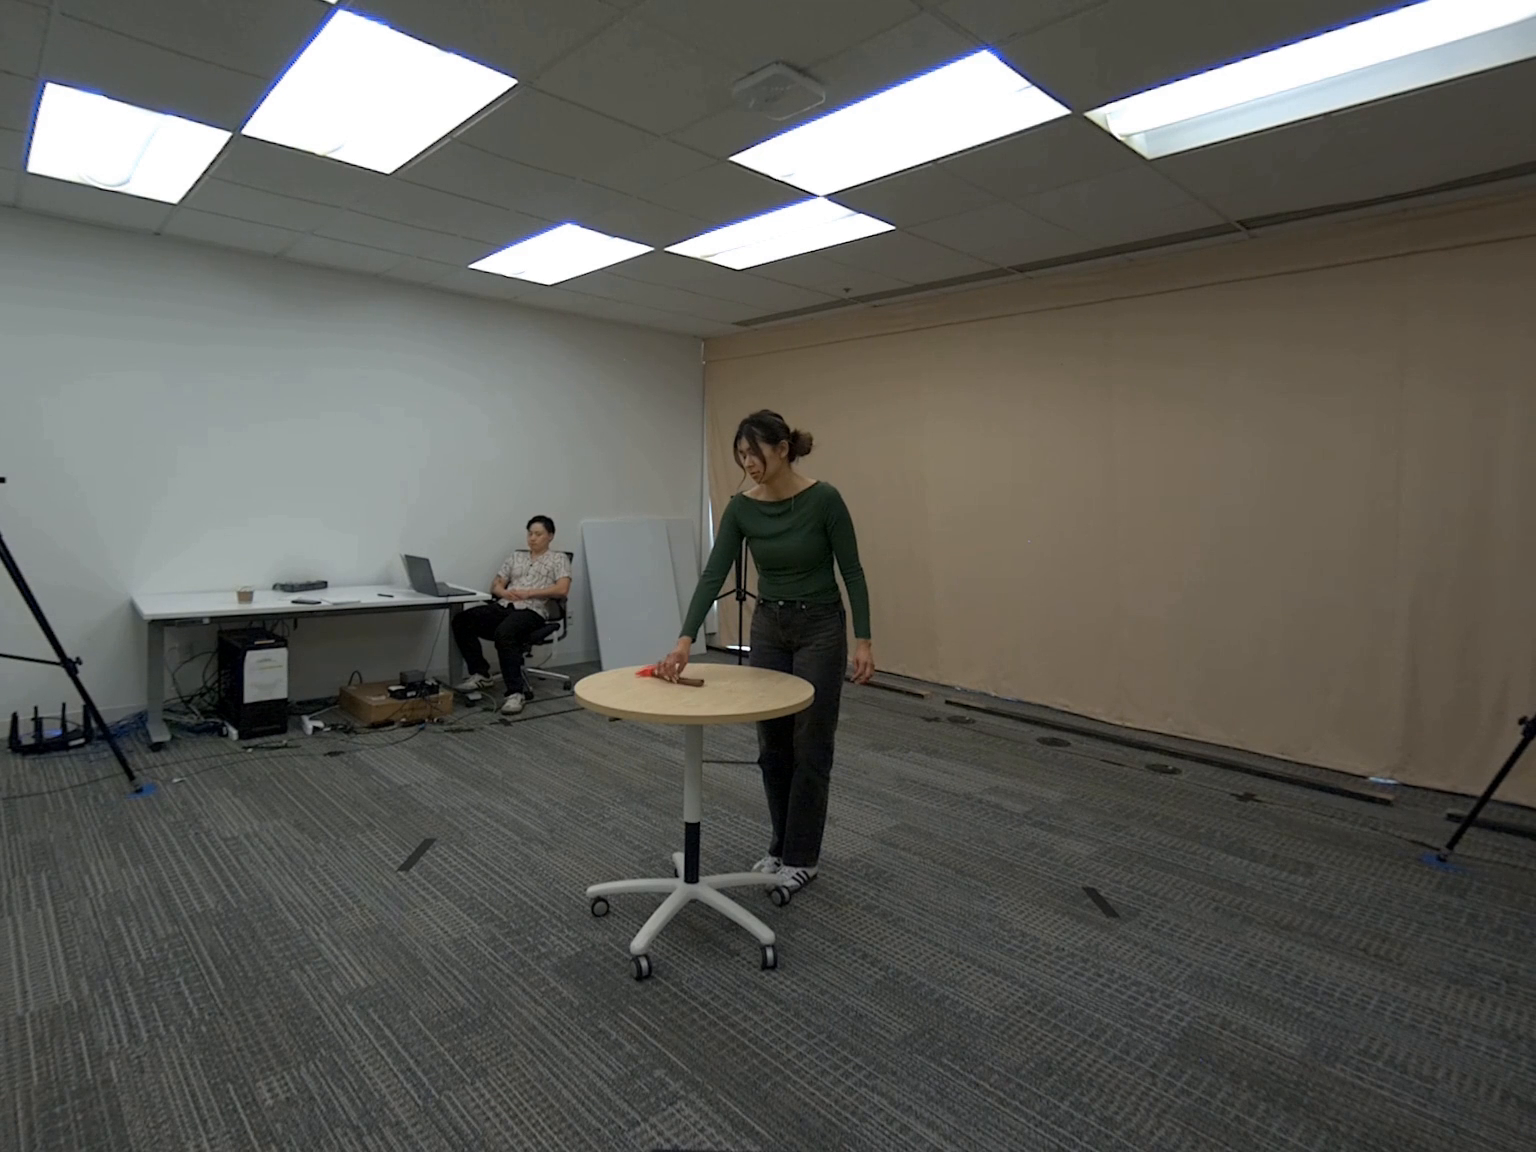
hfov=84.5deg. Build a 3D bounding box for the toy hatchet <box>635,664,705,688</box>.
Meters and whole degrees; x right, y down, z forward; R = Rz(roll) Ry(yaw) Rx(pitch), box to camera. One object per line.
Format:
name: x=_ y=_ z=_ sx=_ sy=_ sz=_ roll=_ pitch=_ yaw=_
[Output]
toy hatchet: x=-0.308 y=0.332 z=2.789 sx=0.276 sy=0.029 sz=0.129 roll=5 pitch=10 yaw=33
